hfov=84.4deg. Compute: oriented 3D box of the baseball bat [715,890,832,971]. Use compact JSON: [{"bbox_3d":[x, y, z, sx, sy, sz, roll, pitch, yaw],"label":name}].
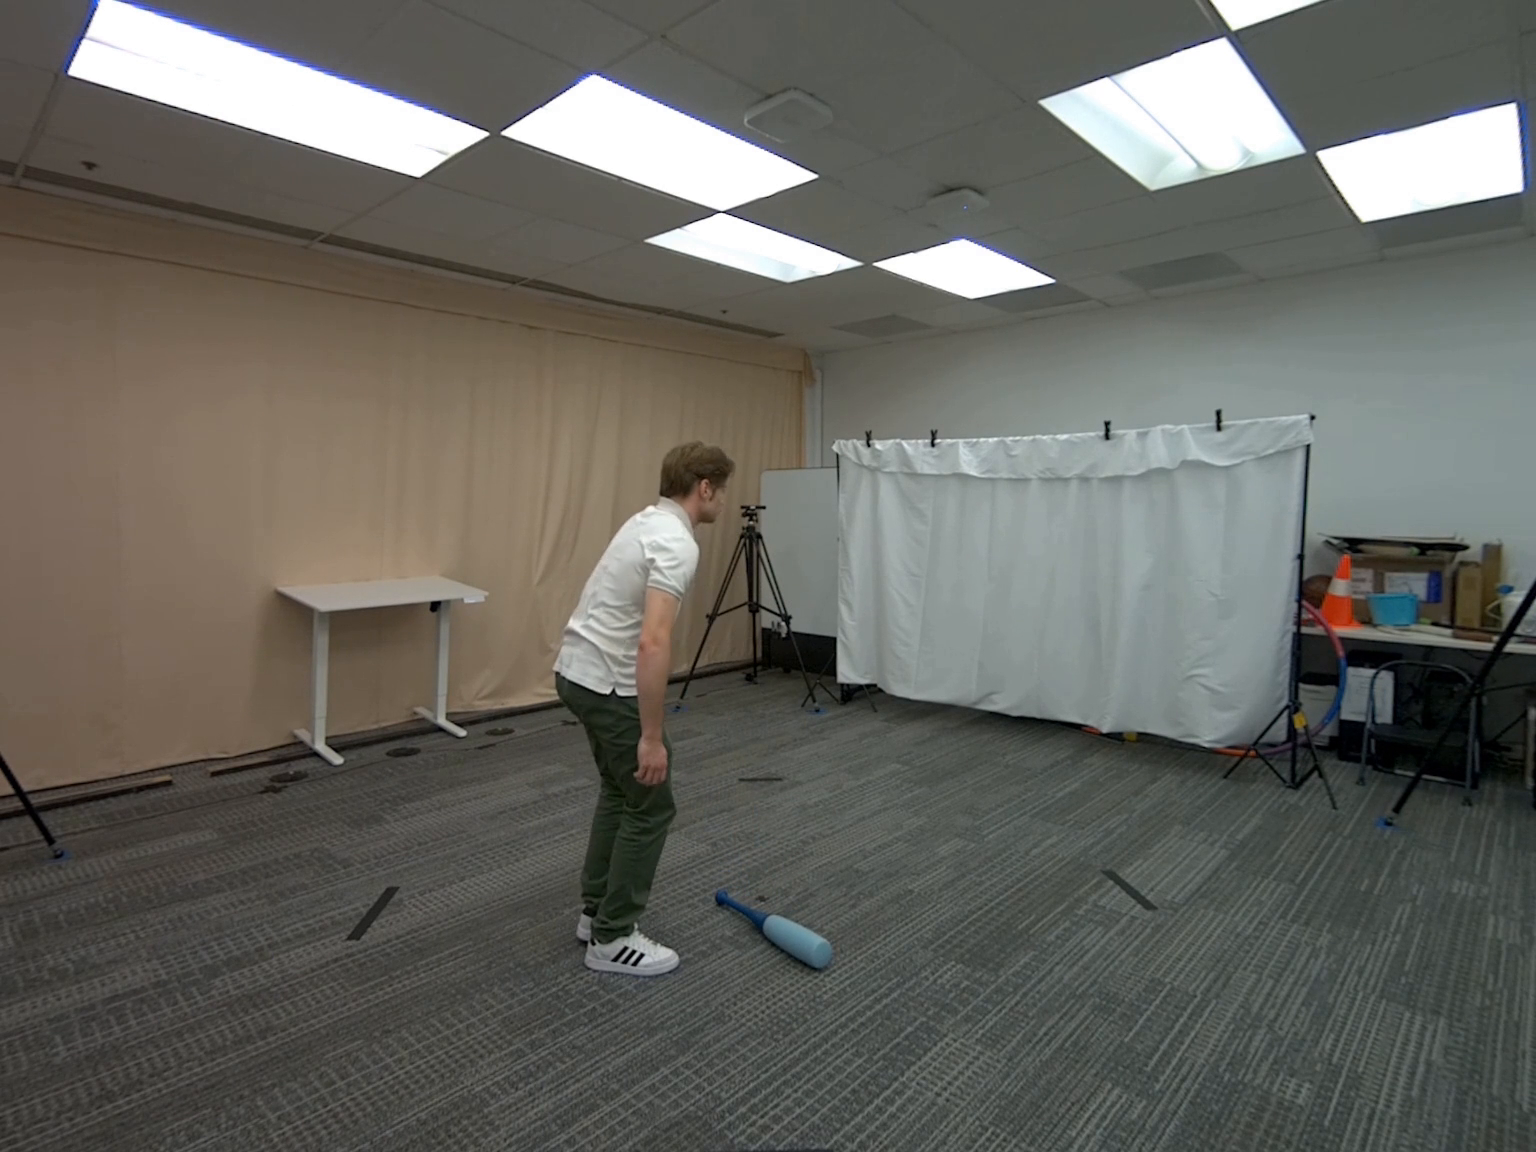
[{"bbox_3d":[0.001,1.131,2.725,0.086,0.089,0.559,-3,2,-36],"label":"baseball bat"}]
